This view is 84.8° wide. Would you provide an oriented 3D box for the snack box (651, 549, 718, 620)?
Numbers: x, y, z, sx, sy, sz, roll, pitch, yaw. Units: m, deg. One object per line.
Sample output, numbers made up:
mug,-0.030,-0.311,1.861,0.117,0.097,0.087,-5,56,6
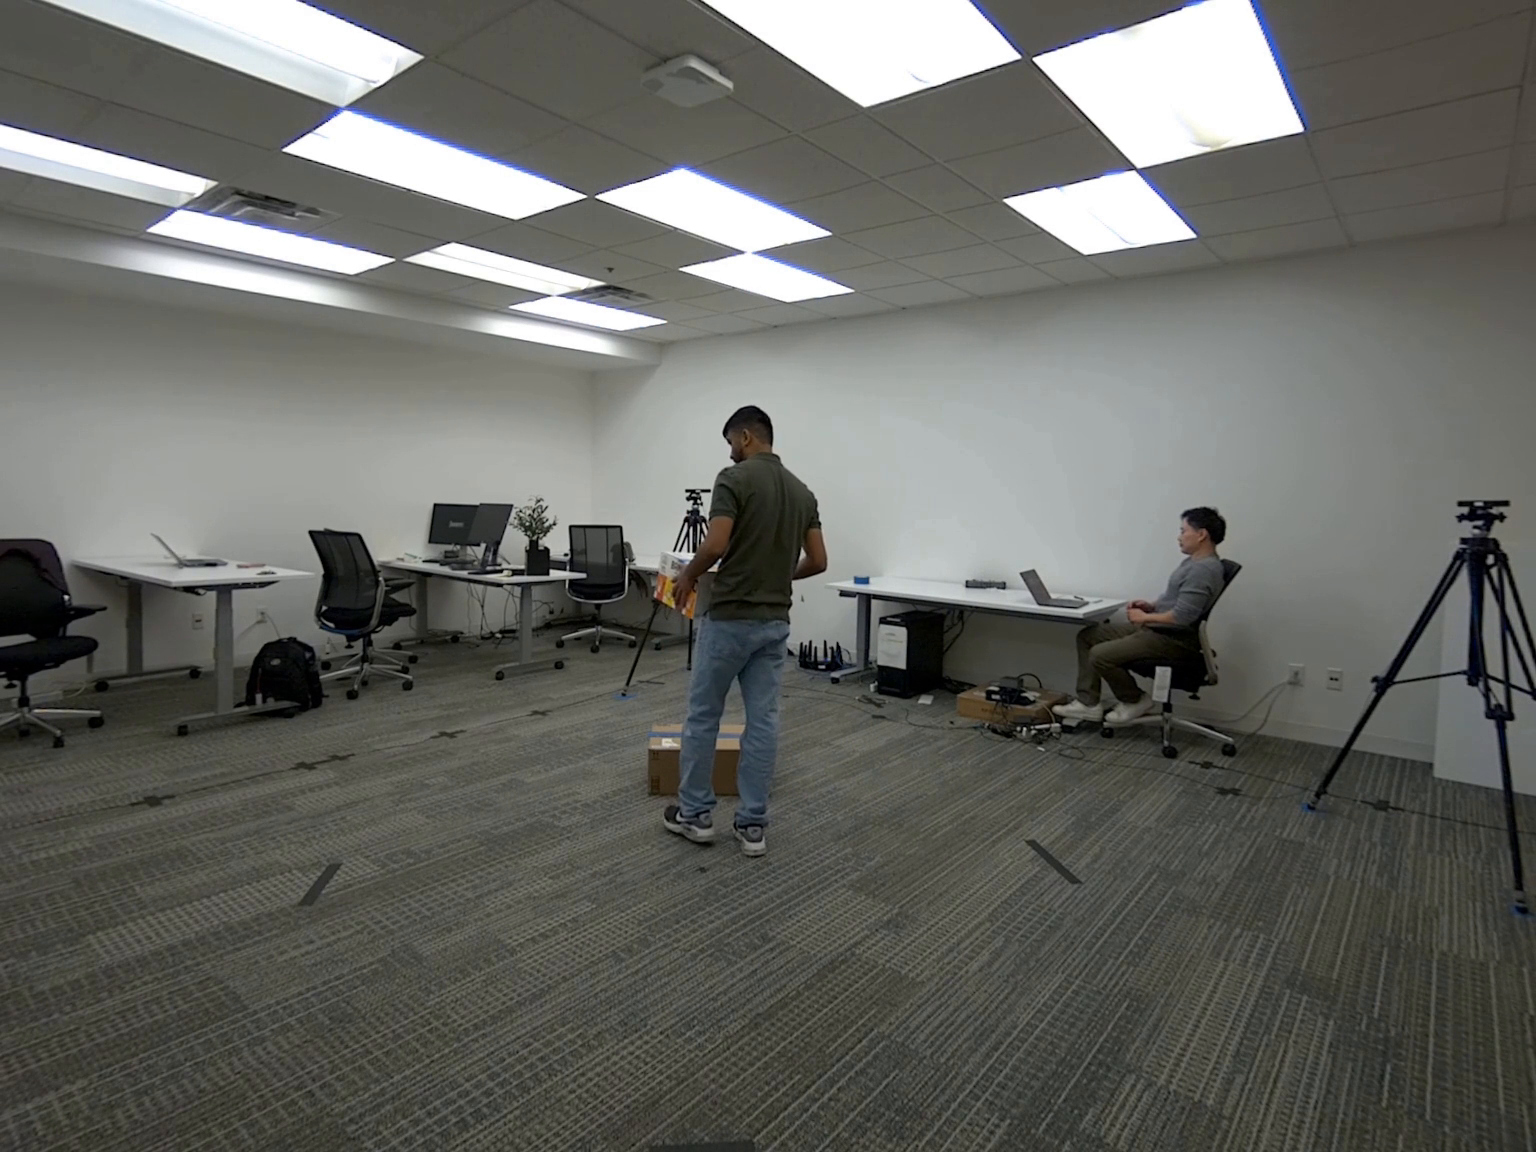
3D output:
snack box,-0.227,0.037,3.582,0.392,0.204,0.353,4,11,-35
